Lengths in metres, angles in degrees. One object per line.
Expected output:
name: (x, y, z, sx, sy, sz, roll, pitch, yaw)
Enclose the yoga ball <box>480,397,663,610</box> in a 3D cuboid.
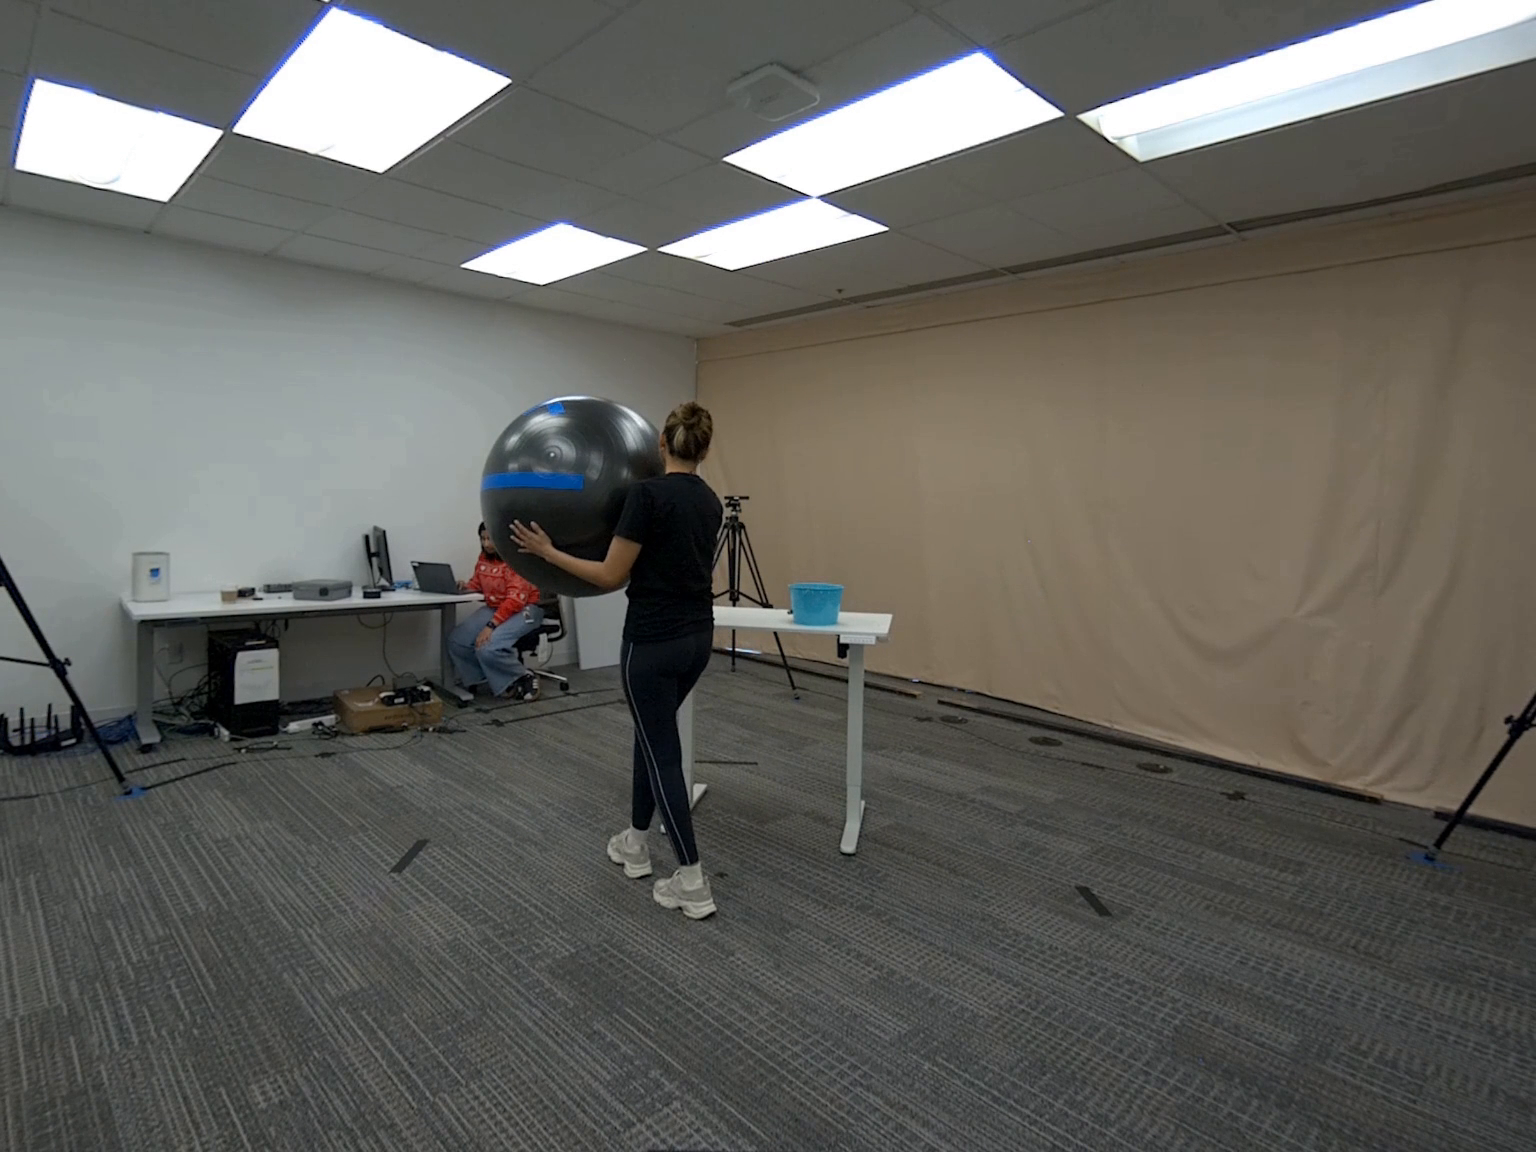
yoga ball: (-0.704, -0.303, 3.202, 0.757, 0.756, 0.761, 1, 4, -1)
